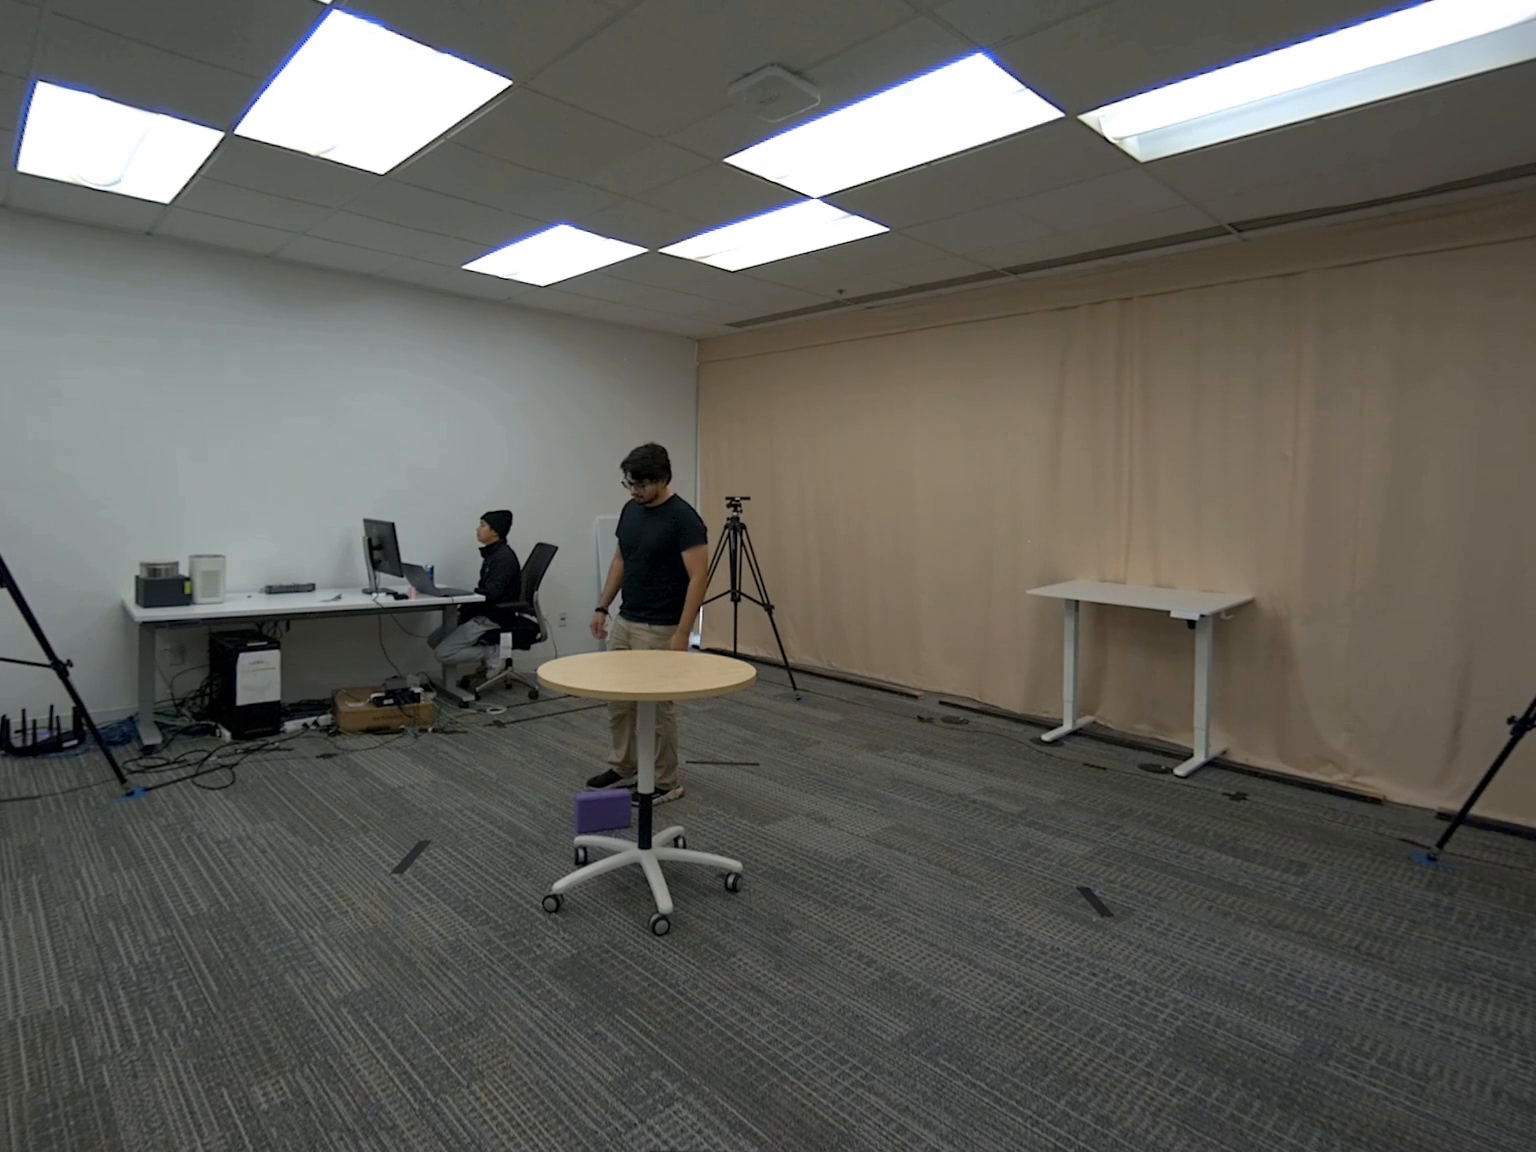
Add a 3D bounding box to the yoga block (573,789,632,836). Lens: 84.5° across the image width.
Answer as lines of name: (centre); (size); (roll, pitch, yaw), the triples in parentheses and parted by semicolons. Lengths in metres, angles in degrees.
yoga block: (-0.706, 0.980, 3.529); (0.226, 0.148, 0.078); (-1, 5, -20)
